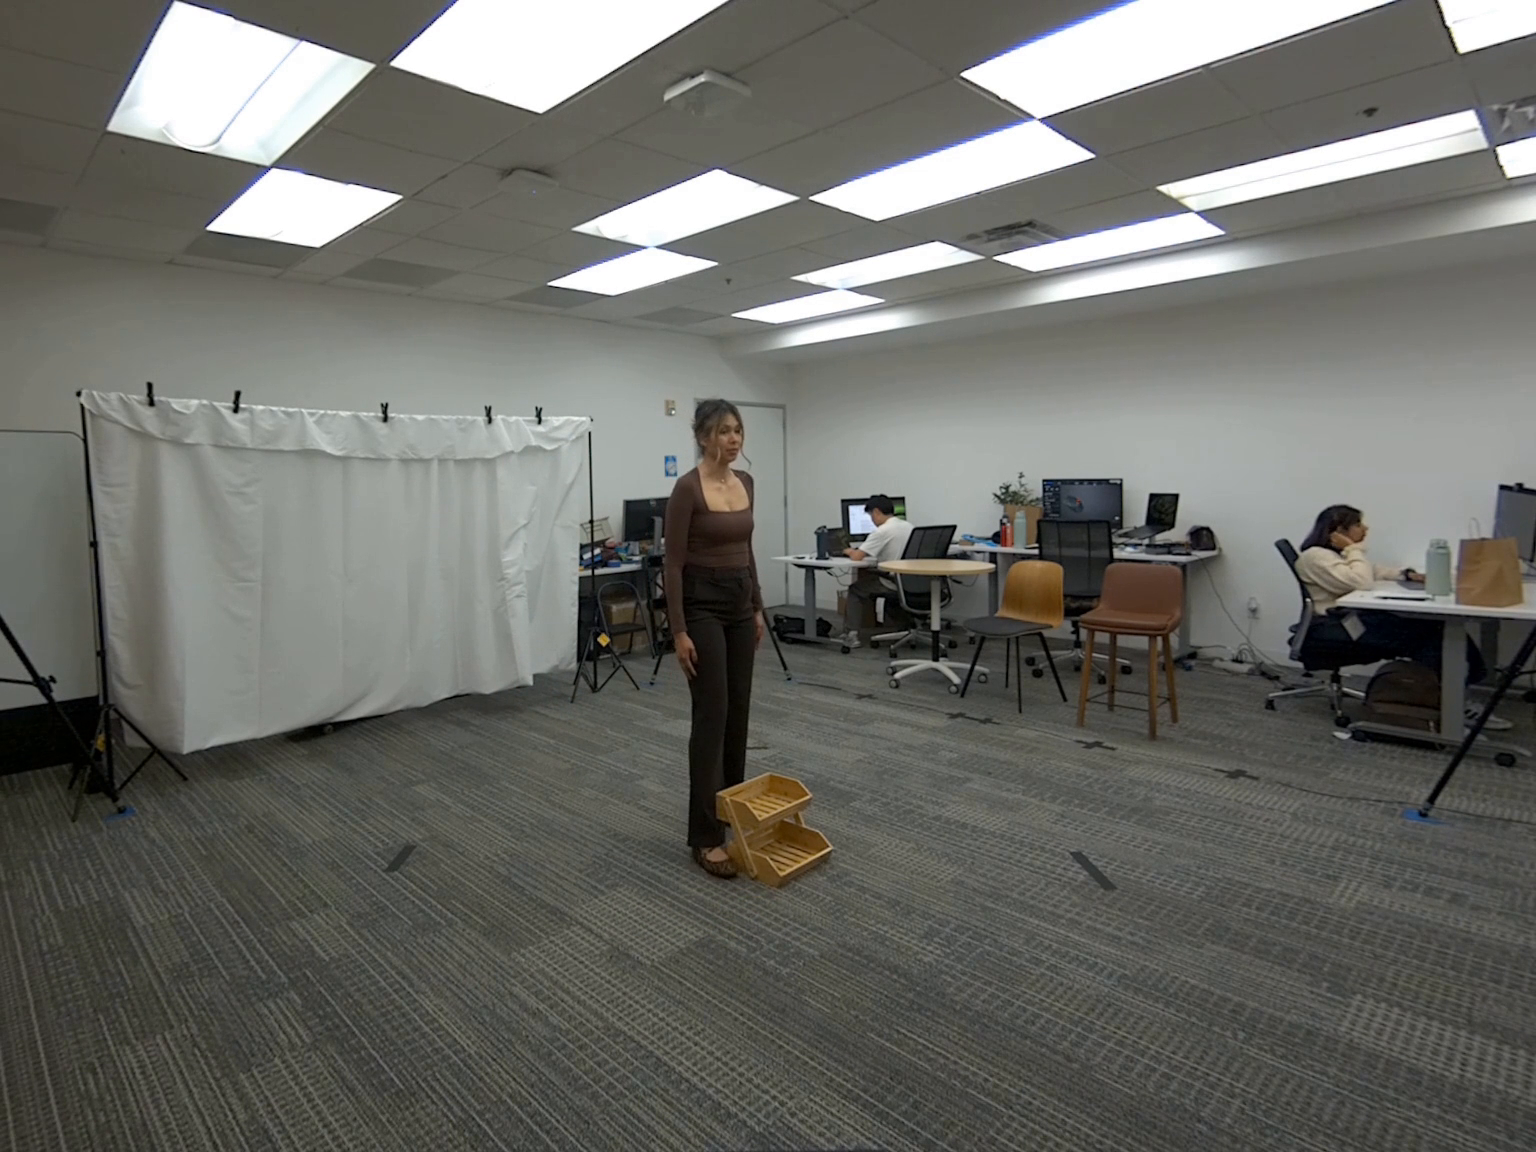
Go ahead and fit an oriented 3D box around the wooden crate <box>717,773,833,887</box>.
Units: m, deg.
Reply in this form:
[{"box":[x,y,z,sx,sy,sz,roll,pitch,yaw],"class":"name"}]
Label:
[{"box":[0.031,0.906,3.102,0.311,0.272,0.316,3,7,42],"class":"wooden crate"}]
